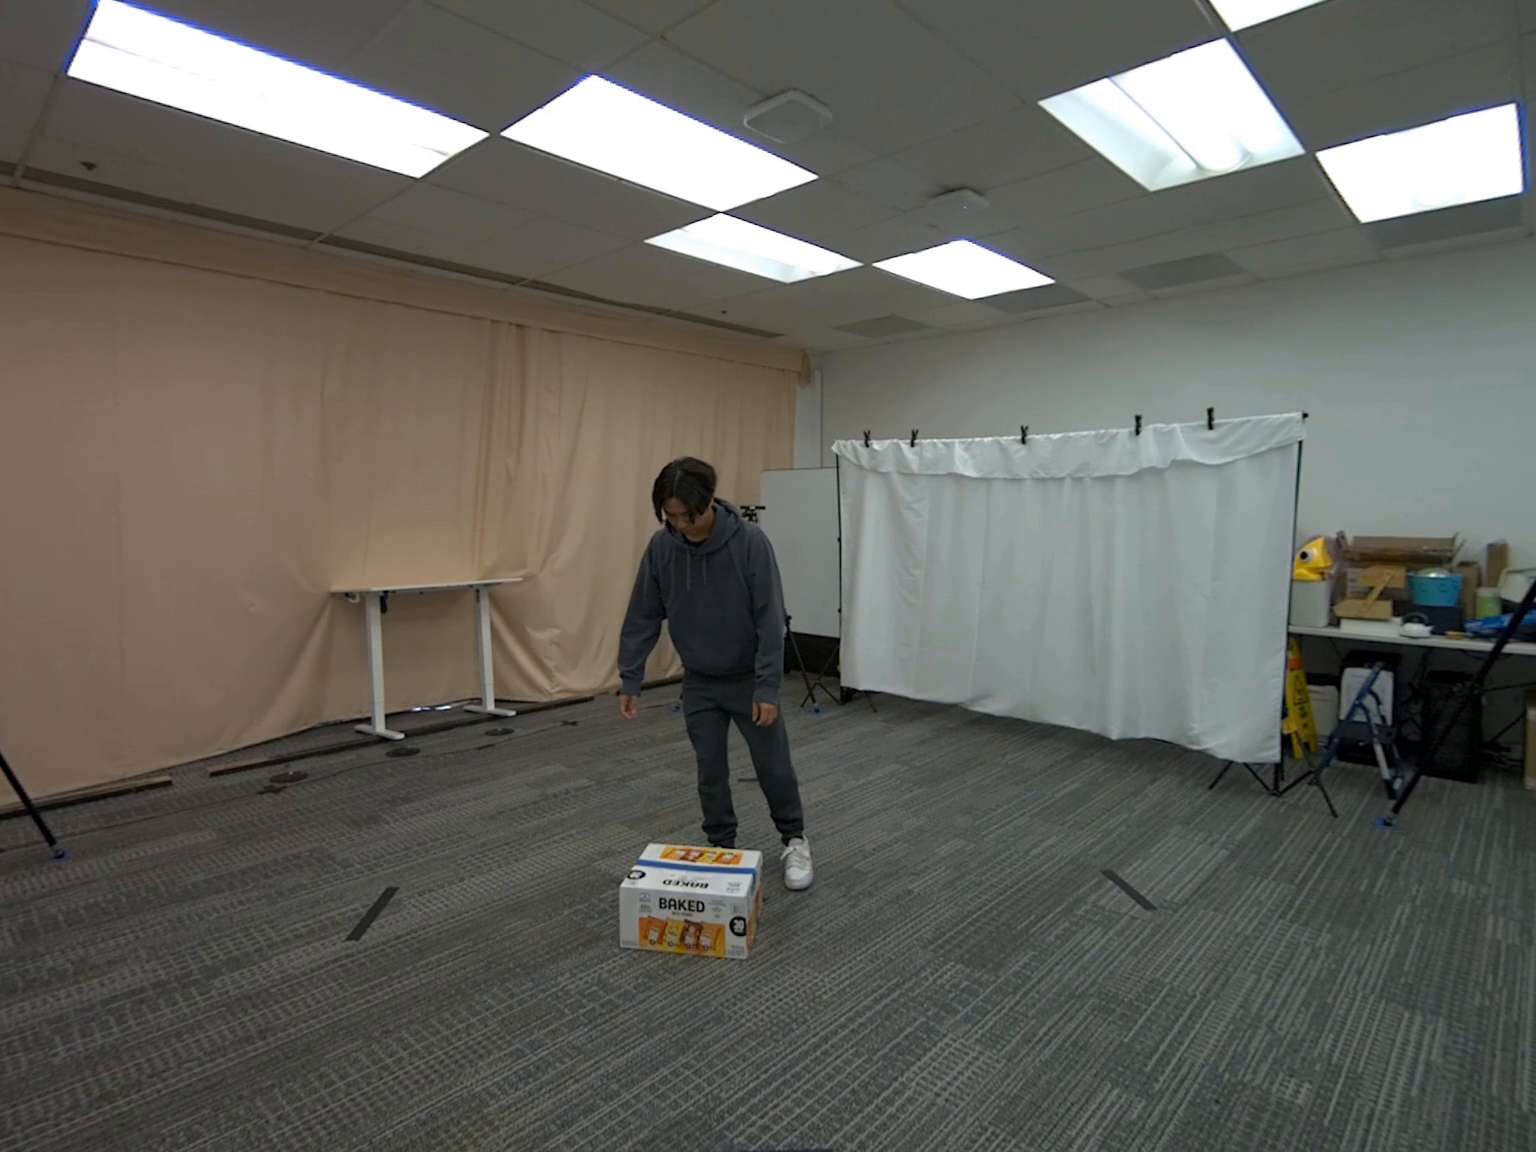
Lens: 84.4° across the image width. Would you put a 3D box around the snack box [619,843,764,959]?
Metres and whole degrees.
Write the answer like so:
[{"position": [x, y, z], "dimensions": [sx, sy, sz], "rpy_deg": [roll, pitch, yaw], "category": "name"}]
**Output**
[{"position": [-0.242, 1.062, 2.769], "dimensions": [0.410, 0.205, 0.337], "rpy_deg": [1, 4, 10], "category": "snack box"}]
